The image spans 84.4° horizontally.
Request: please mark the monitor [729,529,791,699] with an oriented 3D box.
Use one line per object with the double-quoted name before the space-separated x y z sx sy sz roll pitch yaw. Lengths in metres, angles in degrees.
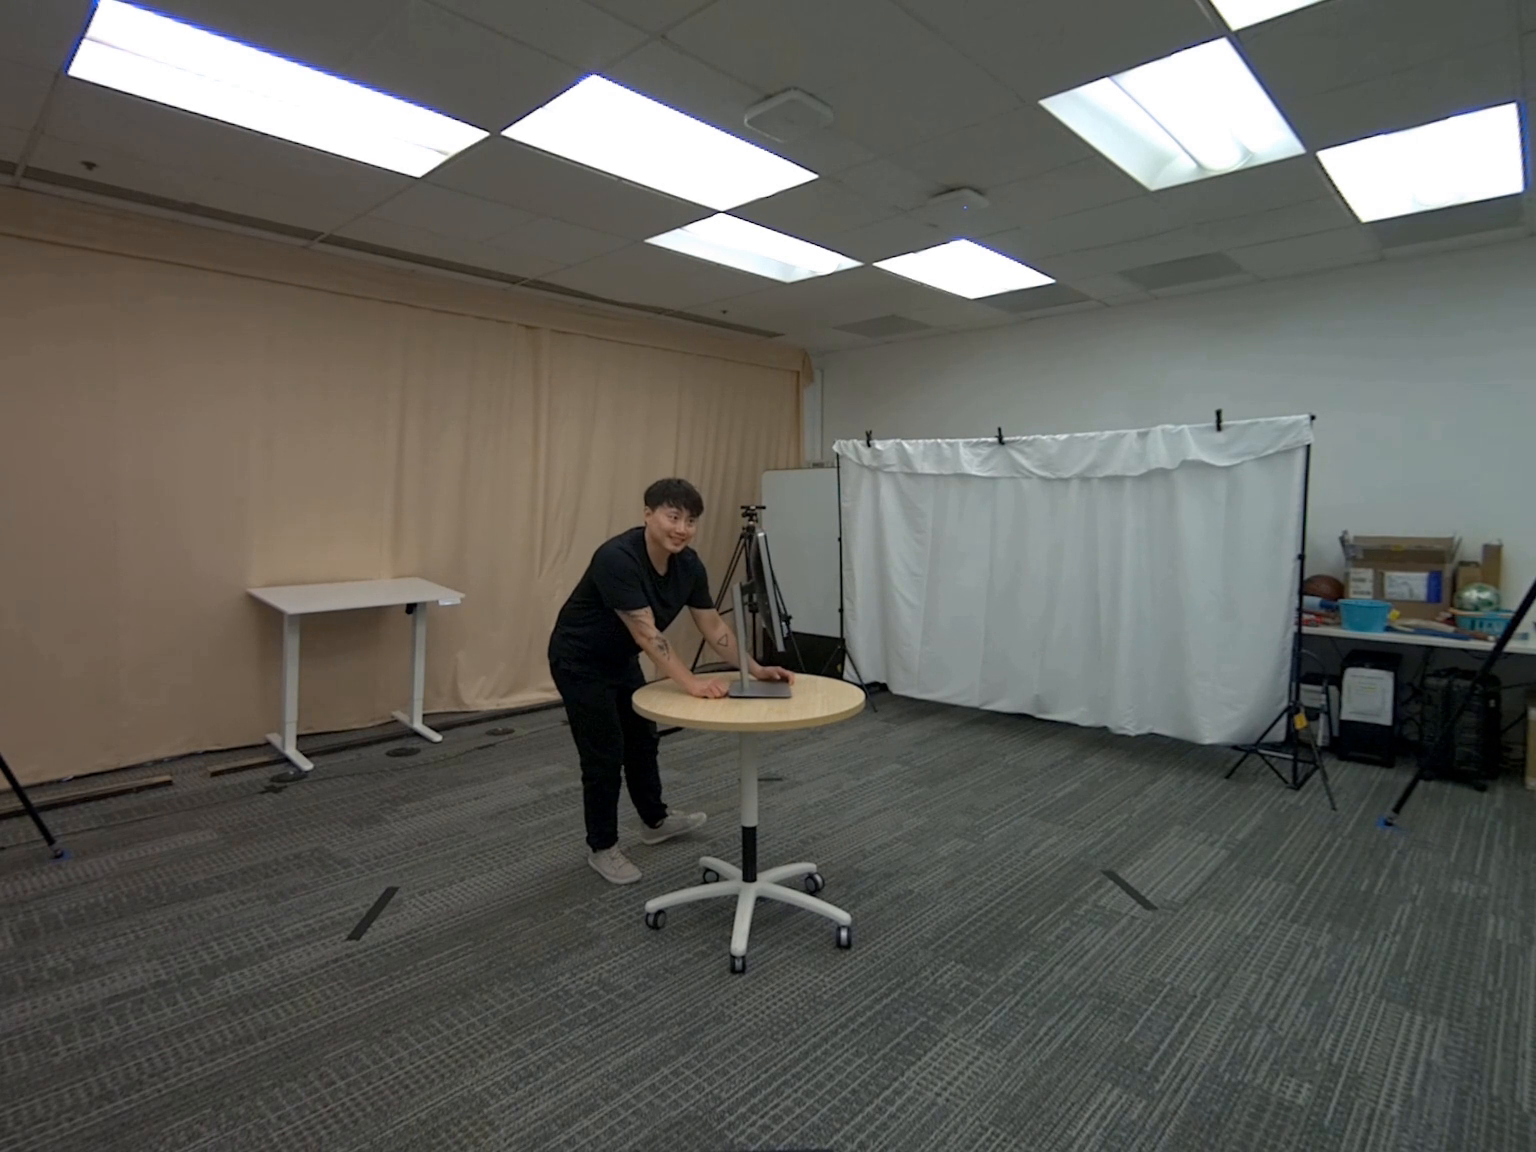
"monitor" -0.028 0.129 2.817 0.187 0.521 0.541 1 5 -2
